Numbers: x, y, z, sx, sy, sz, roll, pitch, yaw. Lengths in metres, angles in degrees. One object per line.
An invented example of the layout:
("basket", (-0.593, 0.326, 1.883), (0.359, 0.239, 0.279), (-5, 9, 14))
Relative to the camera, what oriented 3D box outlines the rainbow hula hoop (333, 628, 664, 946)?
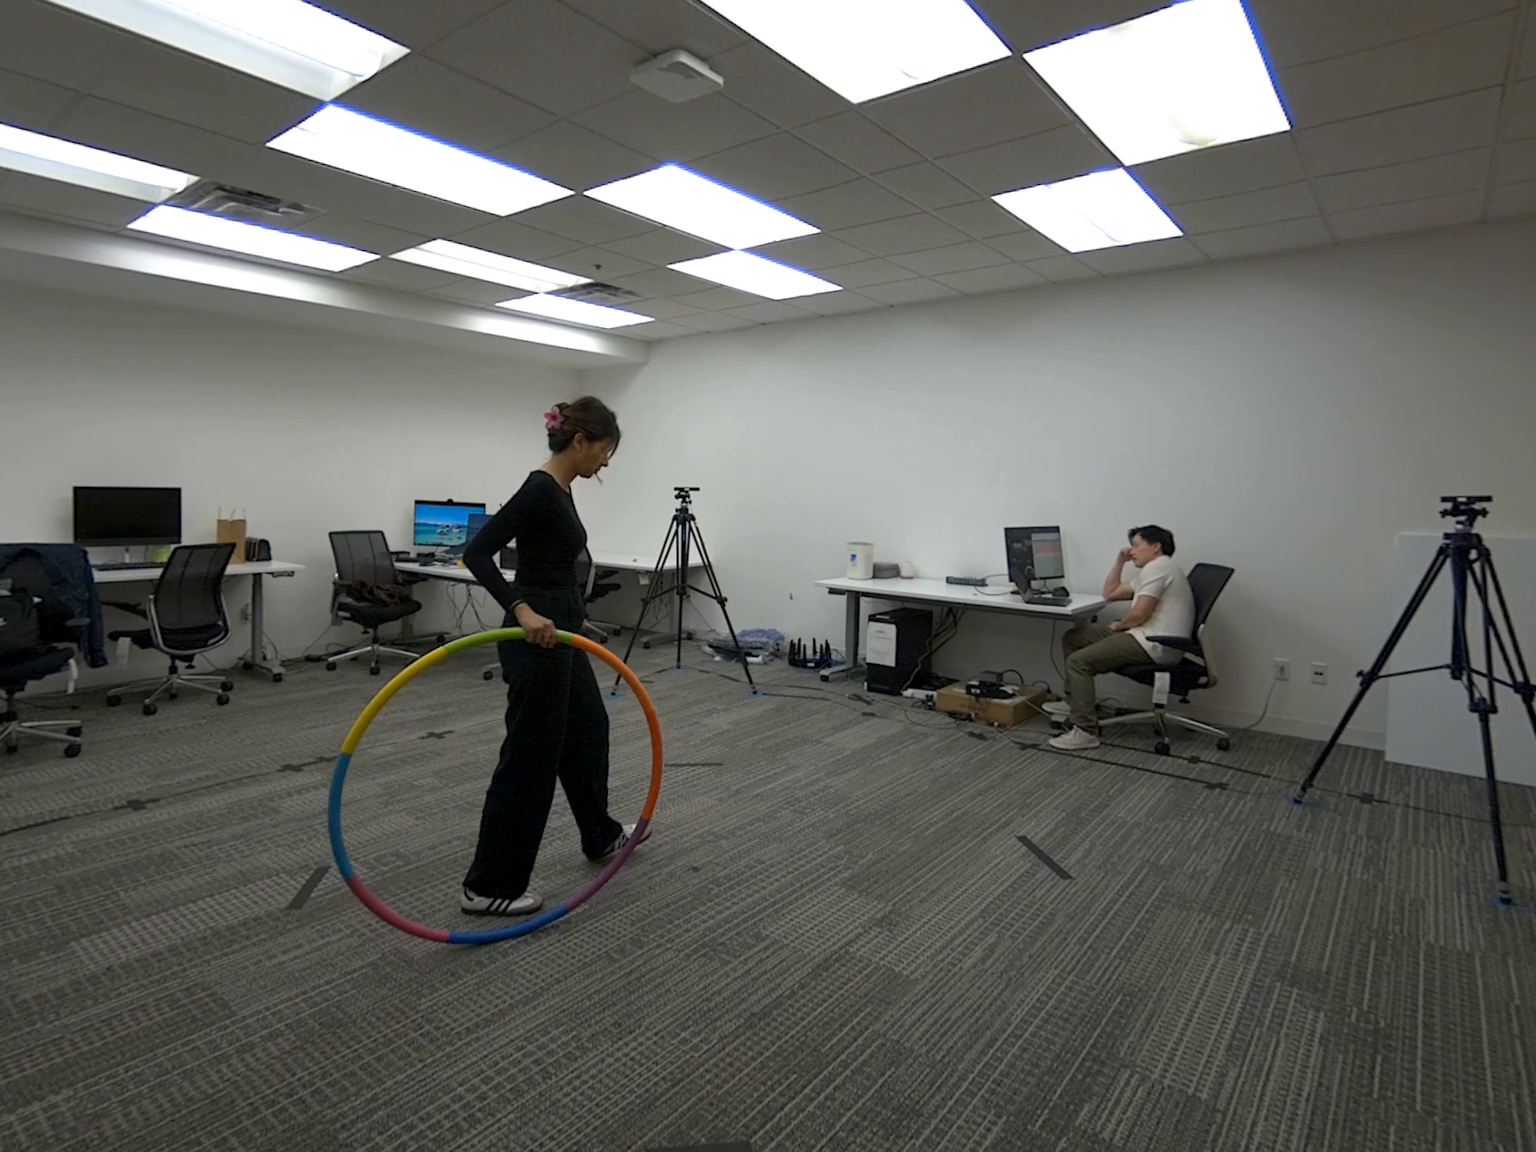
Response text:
("rainbow hula hoop", (-0.762, 0.632, 2.559), (0.954, 0.971, 0.037), (-1, 9, -28))
